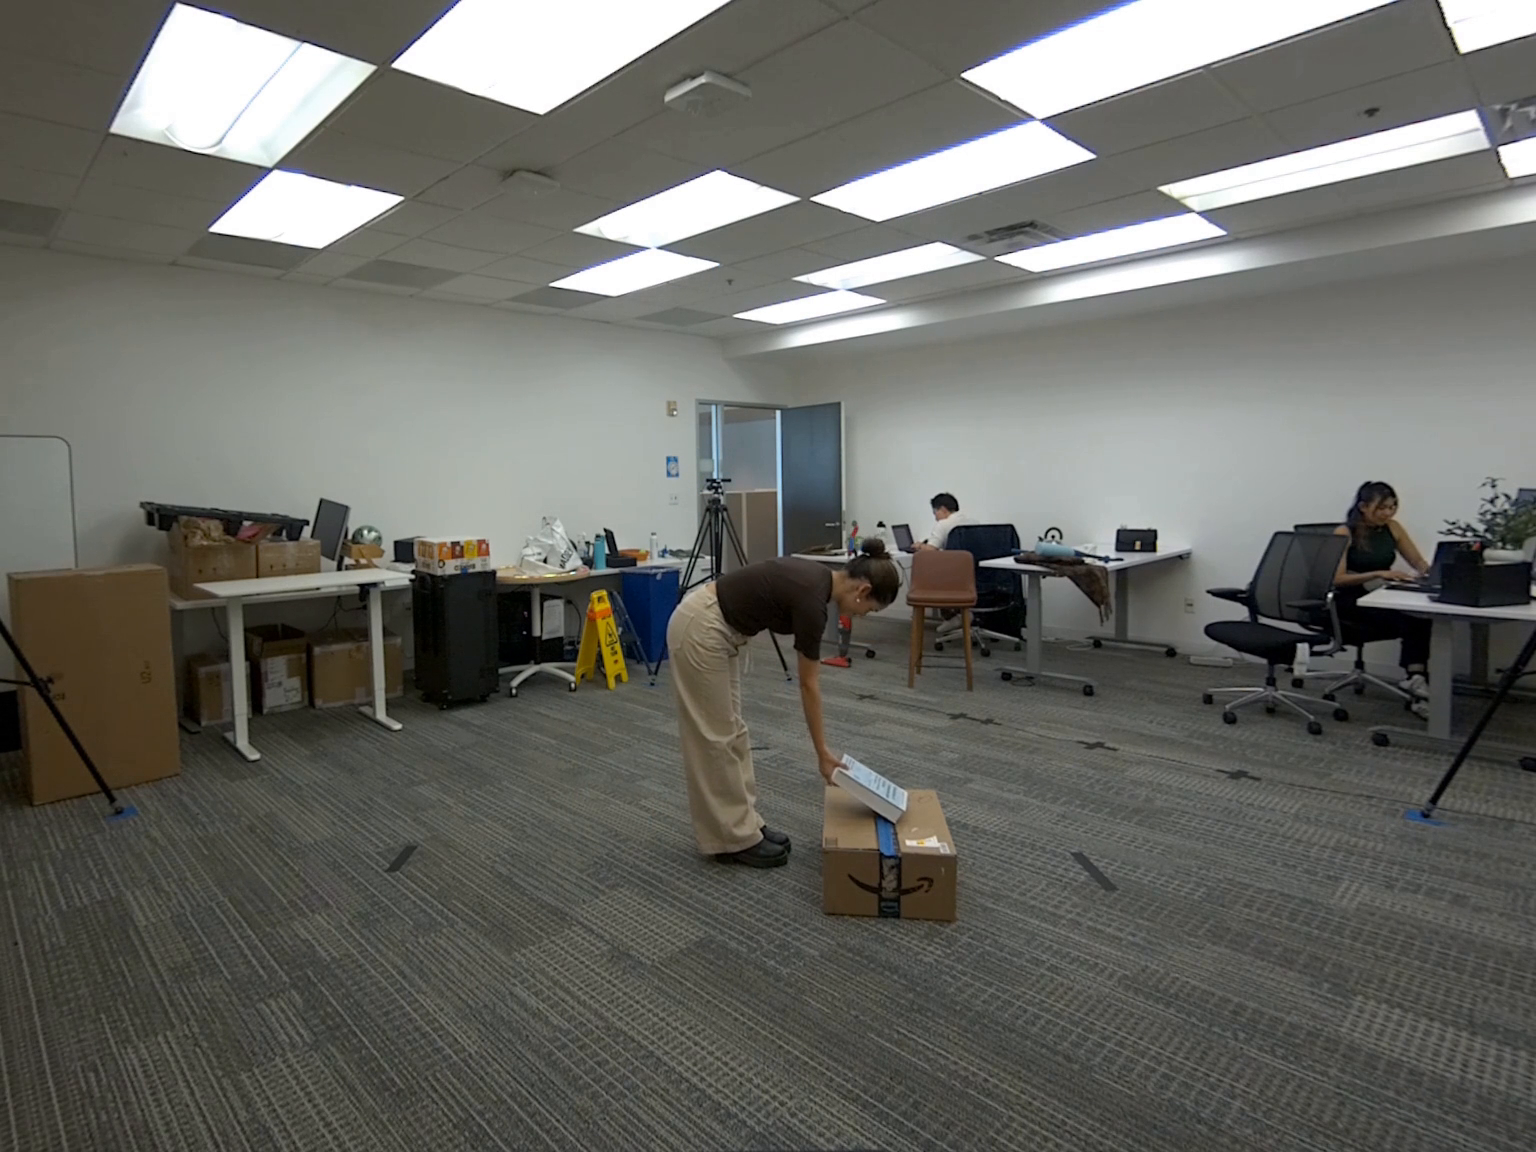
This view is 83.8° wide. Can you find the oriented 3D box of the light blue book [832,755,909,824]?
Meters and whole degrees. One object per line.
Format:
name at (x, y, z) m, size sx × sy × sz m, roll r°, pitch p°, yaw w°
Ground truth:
light blue book at (0.358, 0.738, 3.032) m, size 0.265 × 0.059 × 0.189 m, roll 30°, pitch 11°, yaw 11°
